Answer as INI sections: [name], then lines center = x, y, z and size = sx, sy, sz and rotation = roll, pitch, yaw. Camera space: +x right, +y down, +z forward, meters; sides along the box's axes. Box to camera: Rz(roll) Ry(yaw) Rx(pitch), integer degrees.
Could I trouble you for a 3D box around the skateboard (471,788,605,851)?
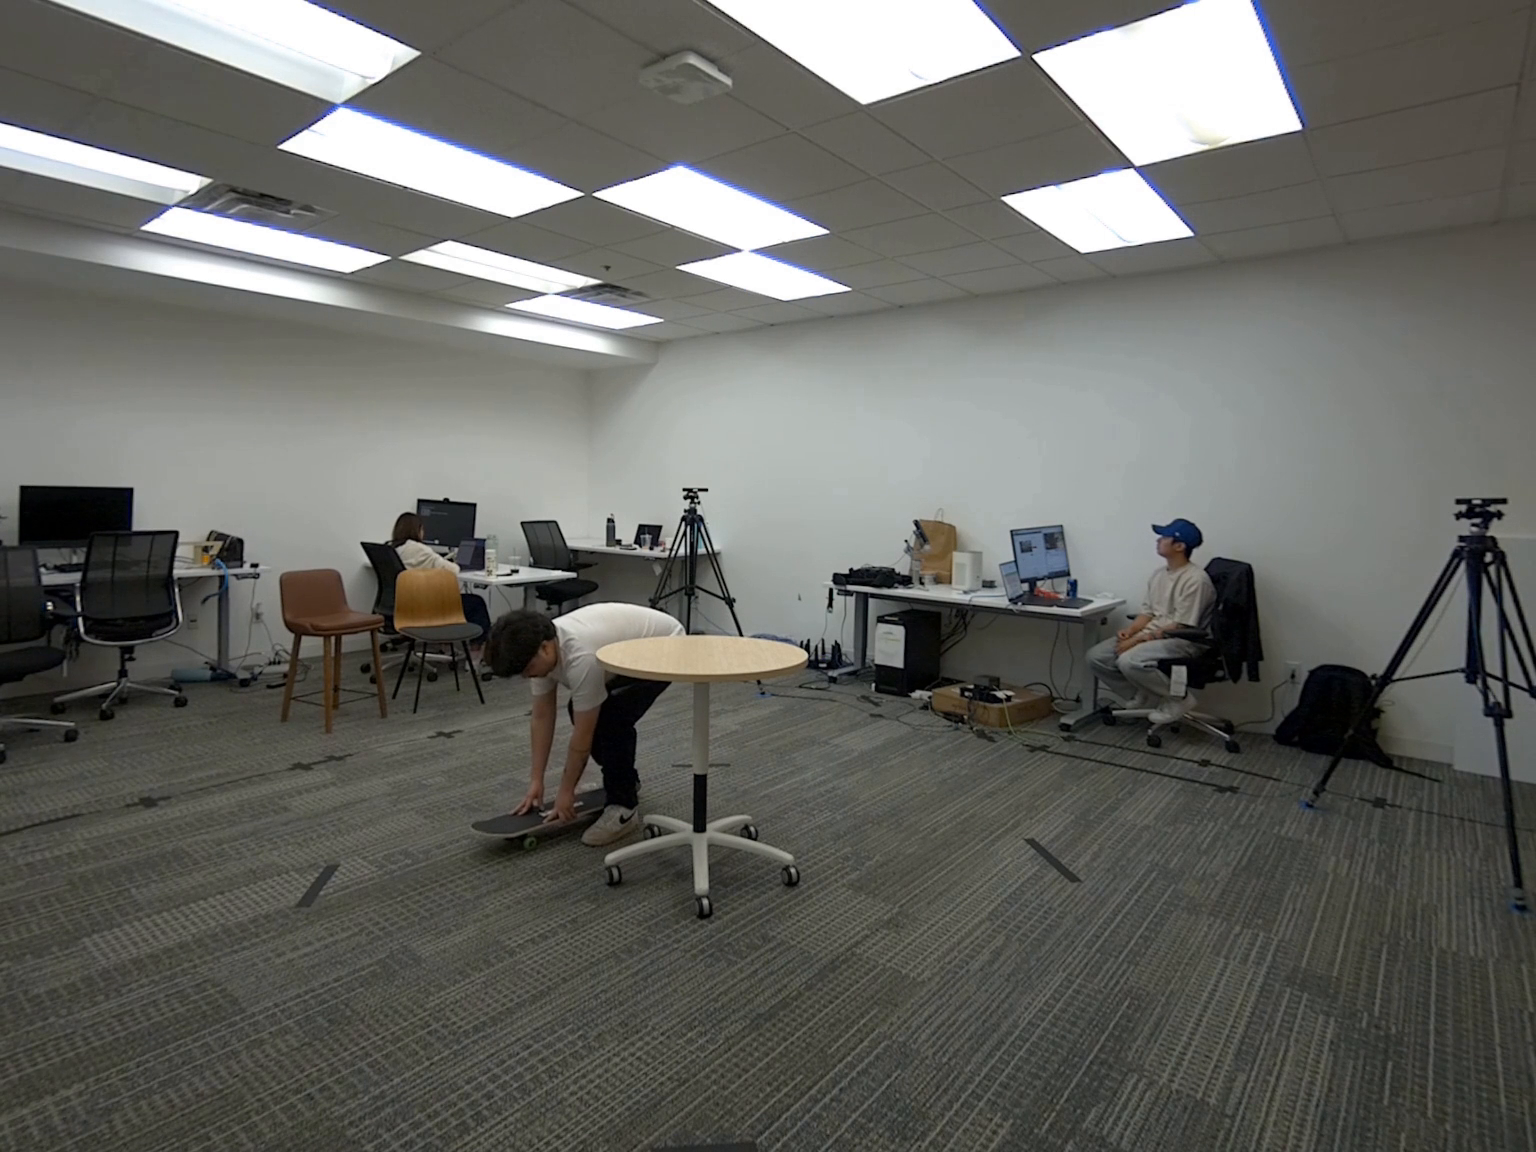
[skateboard]
center = -0.855, 0.976, 3.449
size = 0.200, 0.110, 0.762
rotation = 5, 6, 43
